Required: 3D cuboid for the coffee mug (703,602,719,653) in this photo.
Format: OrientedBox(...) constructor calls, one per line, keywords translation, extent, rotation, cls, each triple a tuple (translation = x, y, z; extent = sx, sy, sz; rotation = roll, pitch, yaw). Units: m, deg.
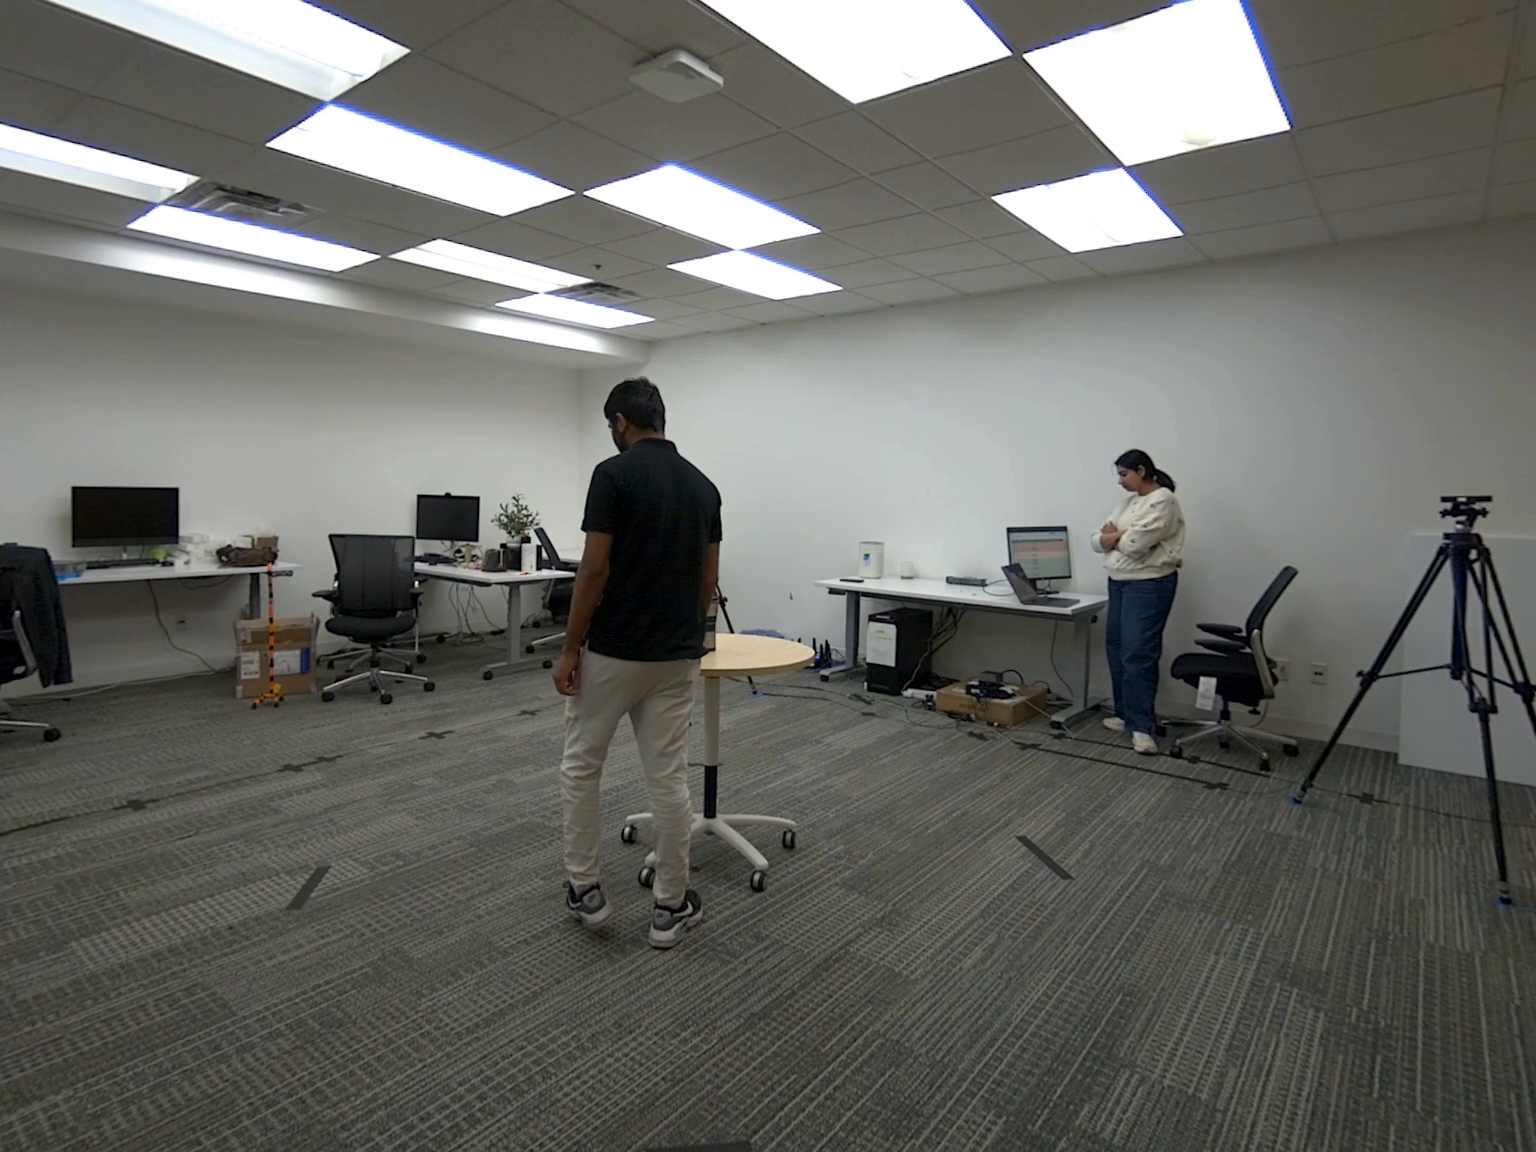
OrientedBox(translation=(-0.234, 0.174, 3.202), extent=(0.088, 0.202, 0.122), rotation=(-2, 6, 2), cls="coffee mug")
